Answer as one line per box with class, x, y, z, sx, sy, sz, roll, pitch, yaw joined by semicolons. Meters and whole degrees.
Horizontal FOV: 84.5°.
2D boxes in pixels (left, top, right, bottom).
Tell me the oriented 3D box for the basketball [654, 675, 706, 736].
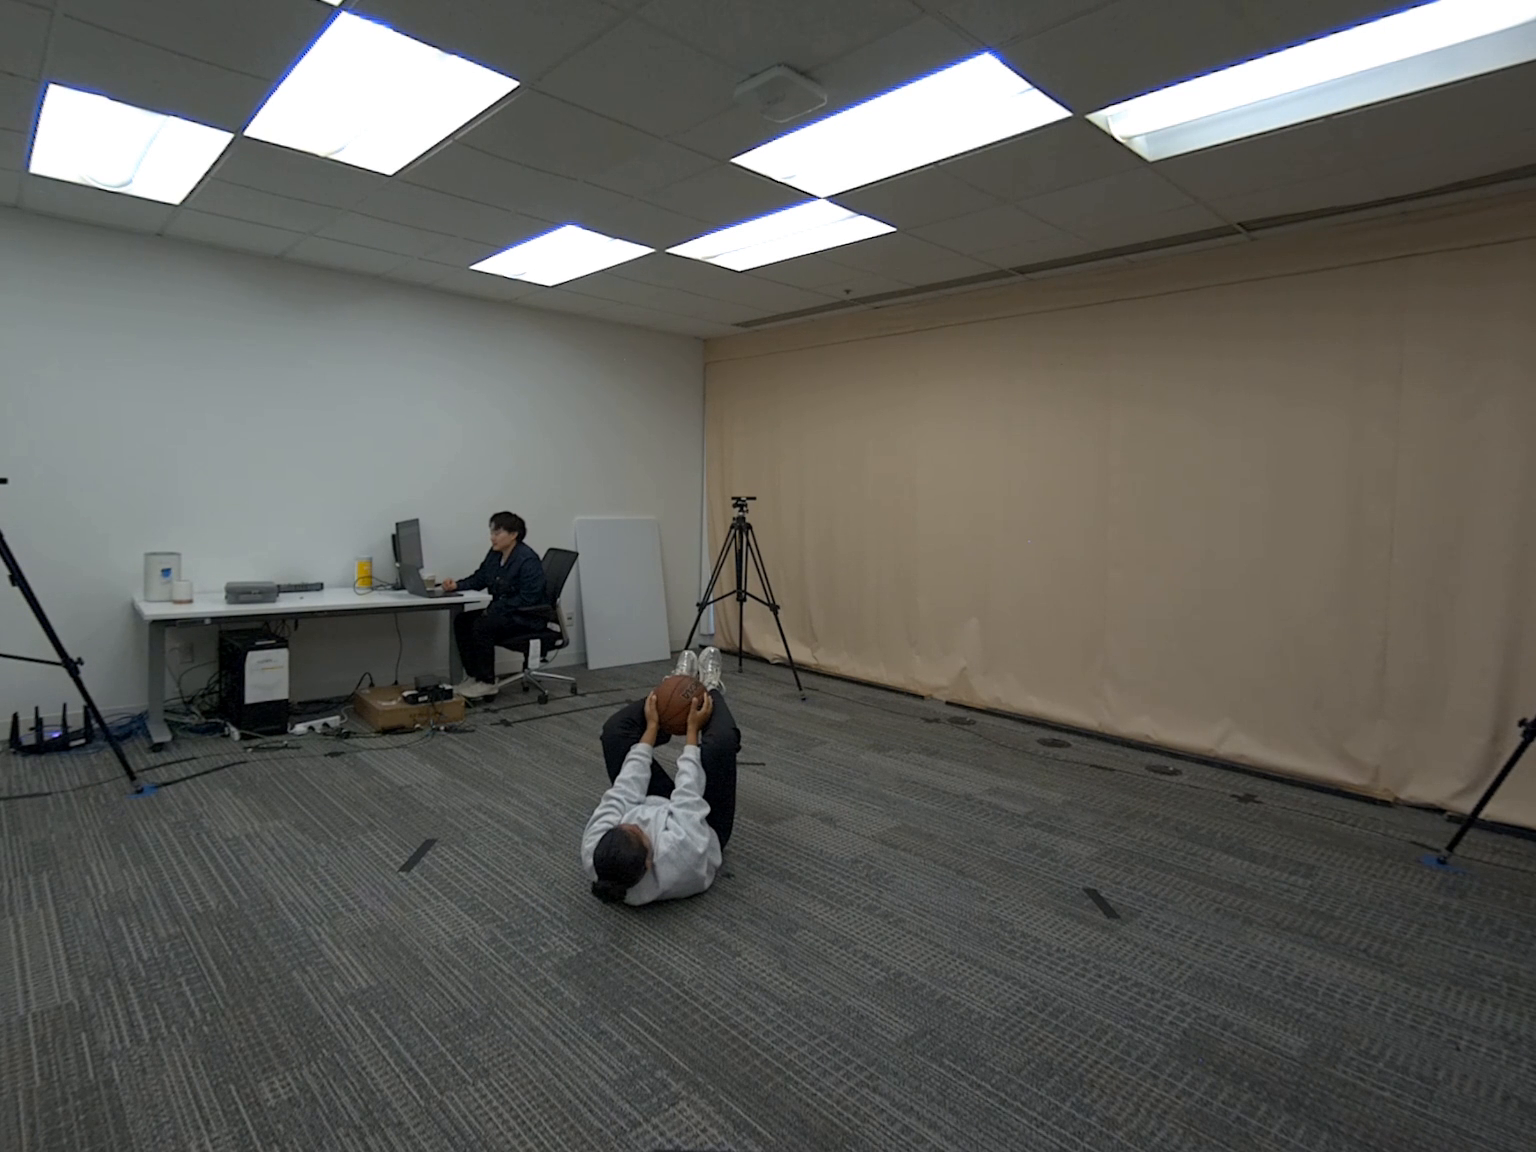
basketball;-0.346;0.511;3.345;0.236;0.235;0.237;1;5;-1
